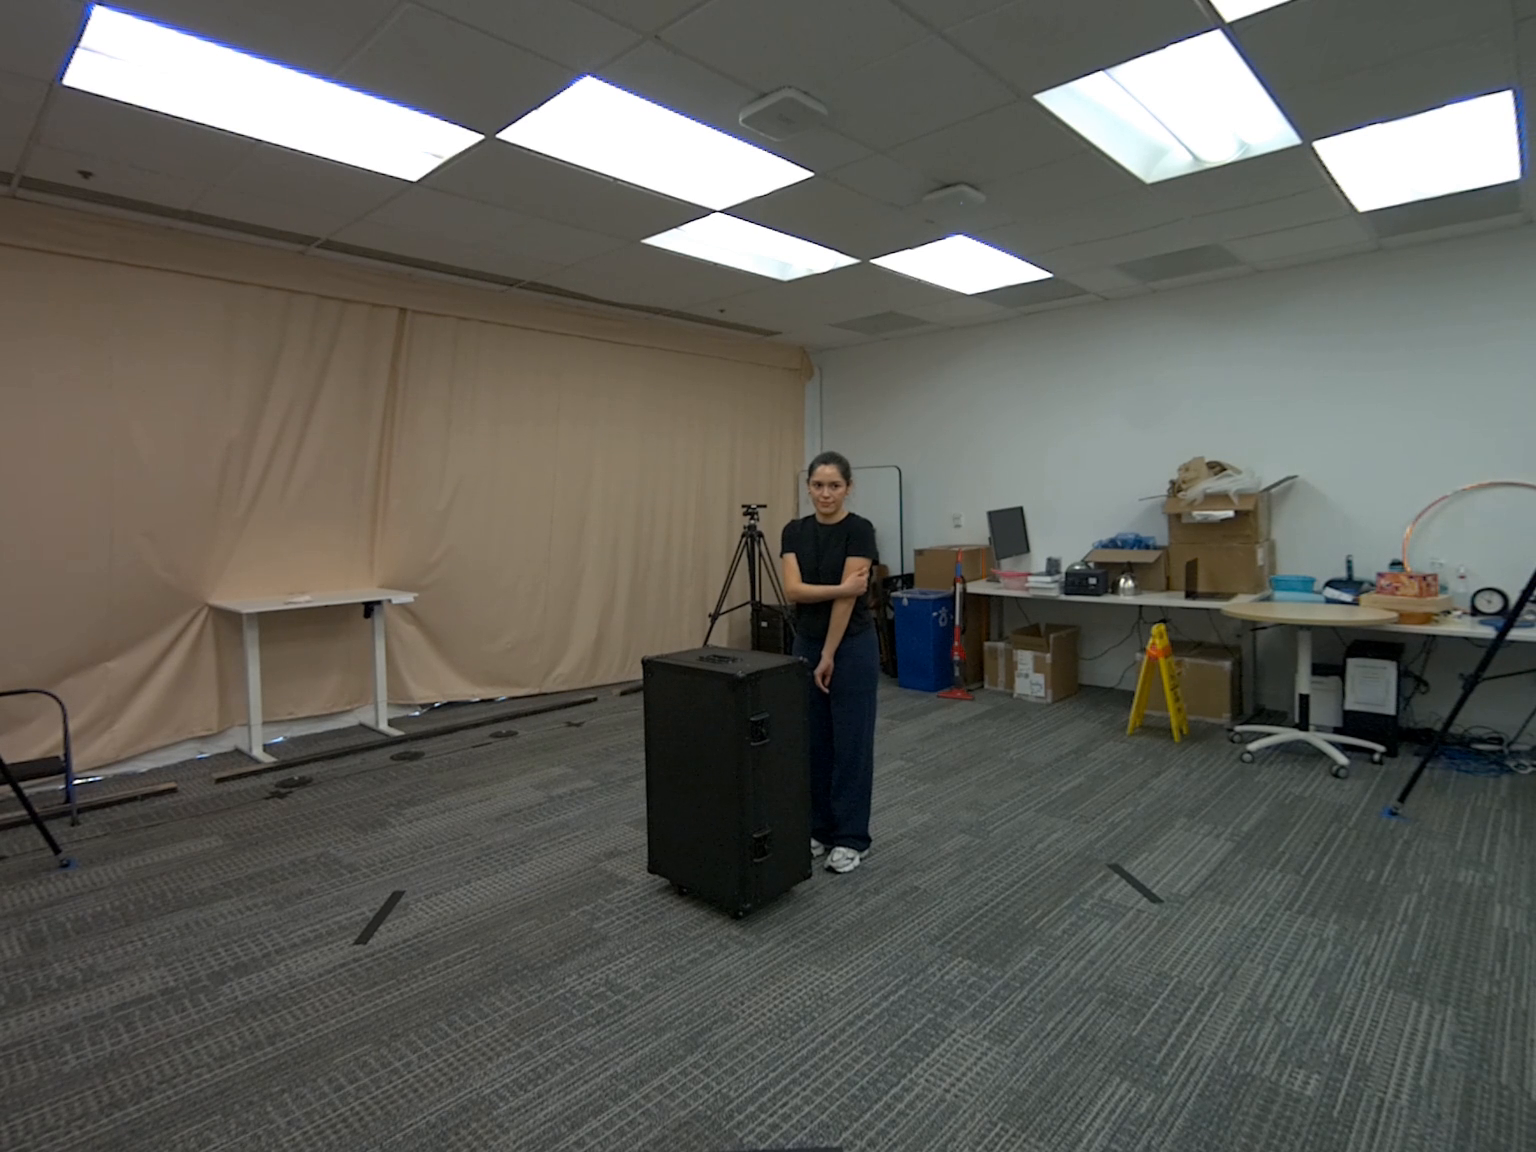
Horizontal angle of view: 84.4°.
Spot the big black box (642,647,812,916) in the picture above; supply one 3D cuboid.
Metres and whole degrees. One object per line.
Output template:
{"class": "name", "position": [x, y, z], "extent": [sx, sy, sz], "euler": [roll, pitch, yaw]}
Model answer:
{"class": "big black box", "position": [-0.128, 0.660, 2.999], "extent": [0.538, 0.859, 0.384], "euler": [2, 5, 42]}
